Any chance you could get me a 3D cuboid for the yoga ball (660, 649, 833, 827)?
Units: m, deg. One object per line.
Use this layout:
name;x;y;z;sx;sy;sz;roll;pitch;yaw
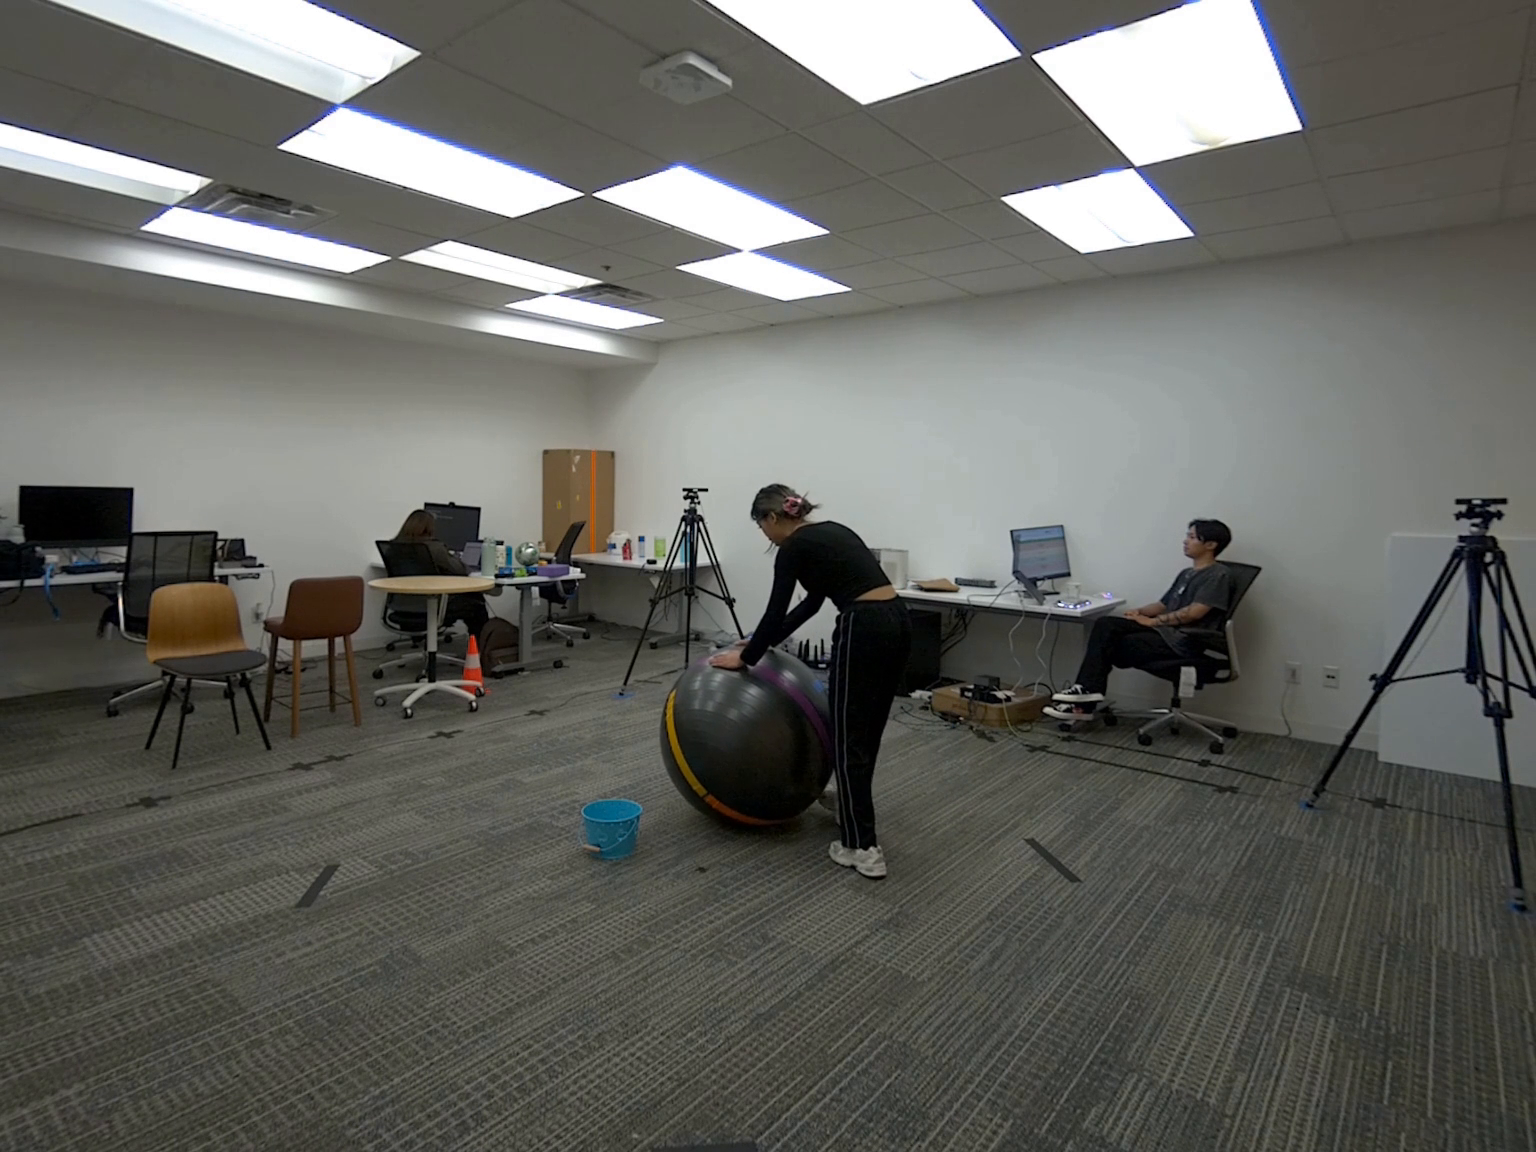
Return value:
yoga ball;-0.096;0.664;3.605;0.757;0.755;0.762;1;4;-2
